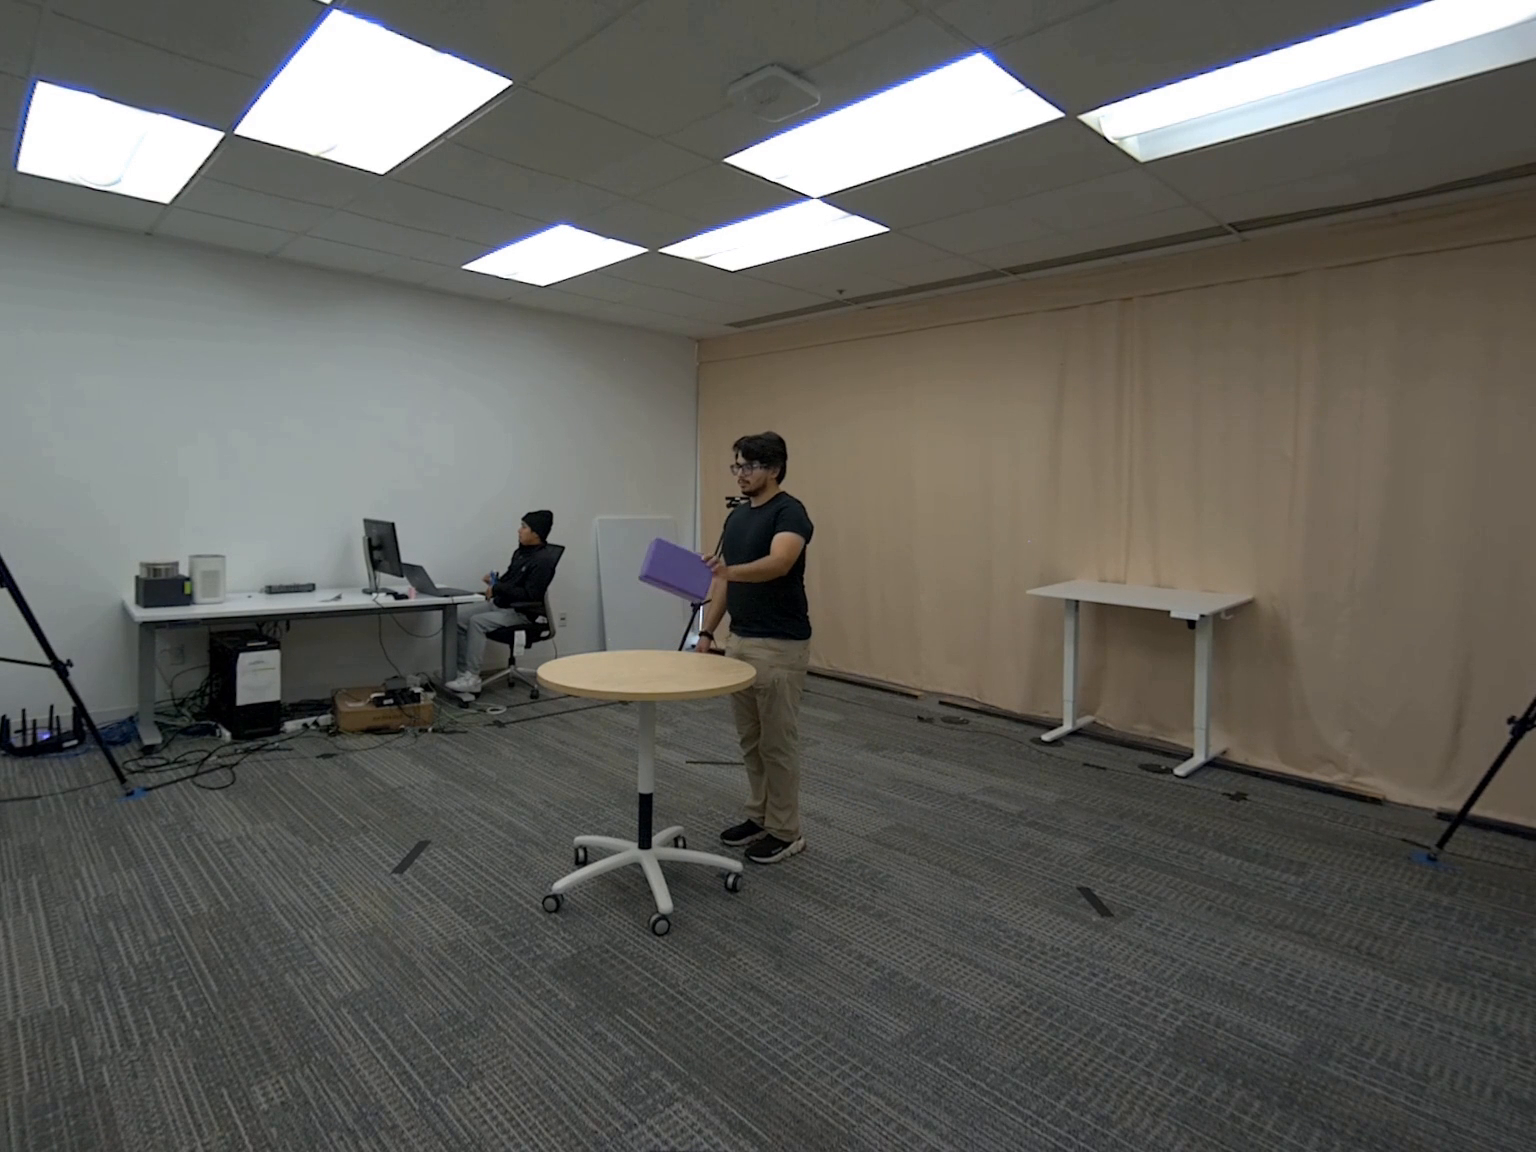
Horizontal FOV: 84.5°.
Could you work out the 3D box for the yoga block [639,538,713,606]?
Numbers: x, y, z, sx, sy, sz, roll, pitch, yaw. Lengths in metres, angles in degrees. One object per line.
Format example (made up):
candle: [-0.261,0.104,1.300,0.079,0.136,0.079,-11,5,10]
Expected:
yoga block: [-0.307,-0.009,2.825,0.227,0.150,0.077,24,-18,-10]
